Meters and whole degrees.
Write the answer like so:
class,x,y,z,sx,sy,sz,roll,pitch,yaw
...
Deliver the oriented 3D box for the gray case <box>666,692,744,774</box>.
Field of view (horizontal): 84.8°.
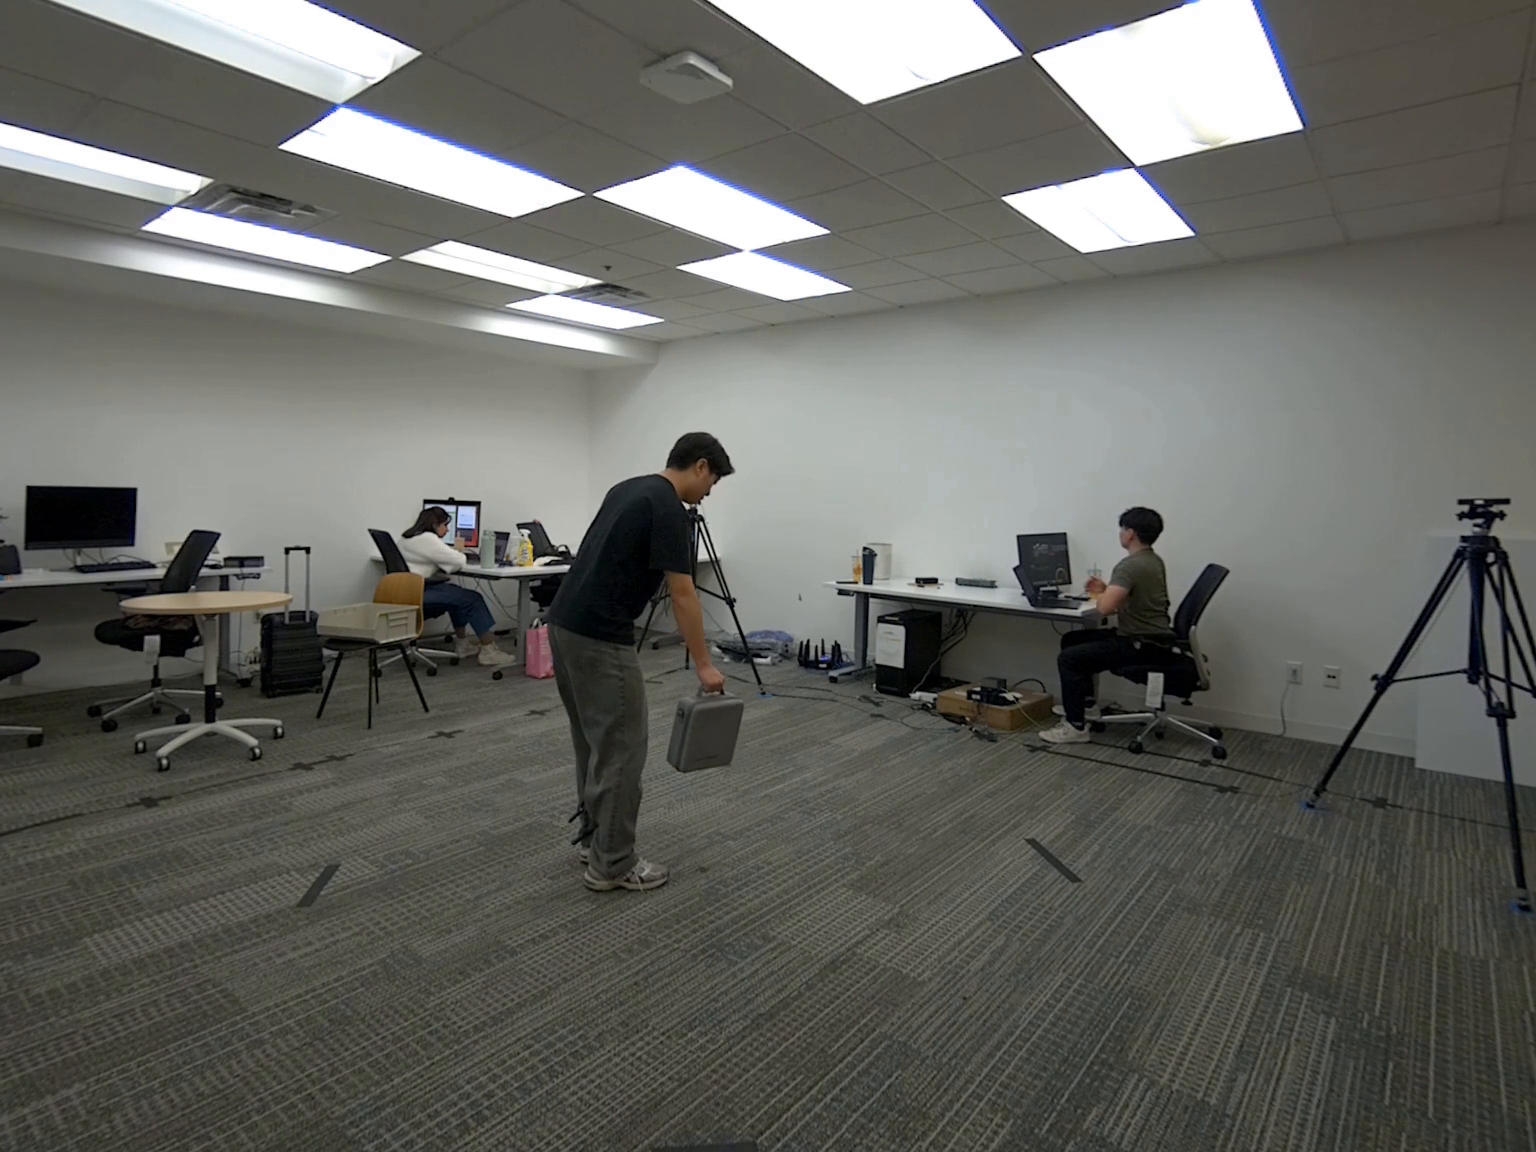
class,x,y,z,sx,sy,sz,roll,pitch,yaw
gray case,-0.227,0.530,2.965,0.254,0.286,0.107,4,10,-45
